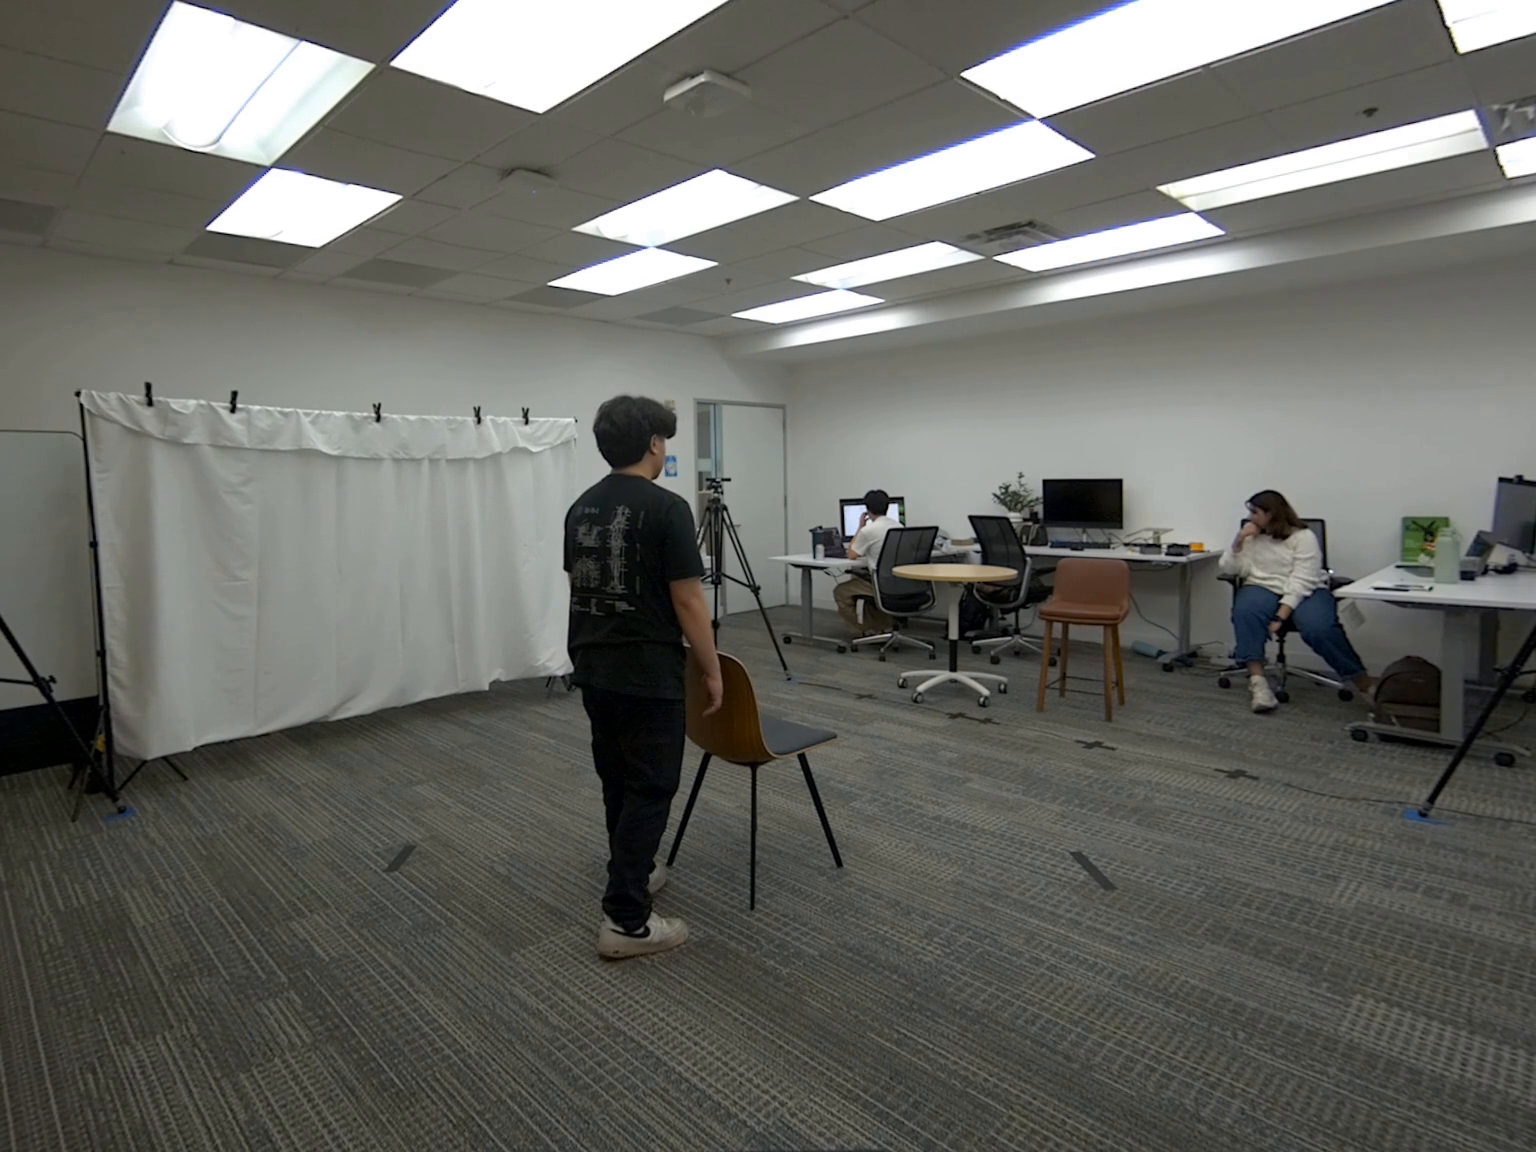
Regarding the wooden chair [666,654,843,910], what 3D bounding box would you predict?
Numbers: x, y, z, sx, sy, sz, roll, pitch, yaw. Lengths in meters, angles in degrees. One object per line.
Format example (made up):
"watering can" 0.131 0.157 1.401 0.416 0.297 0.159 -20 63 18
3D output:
"wooden chair" -0.046 0.622 3.054 0.511 0.872 0.493 -11 9 -43
